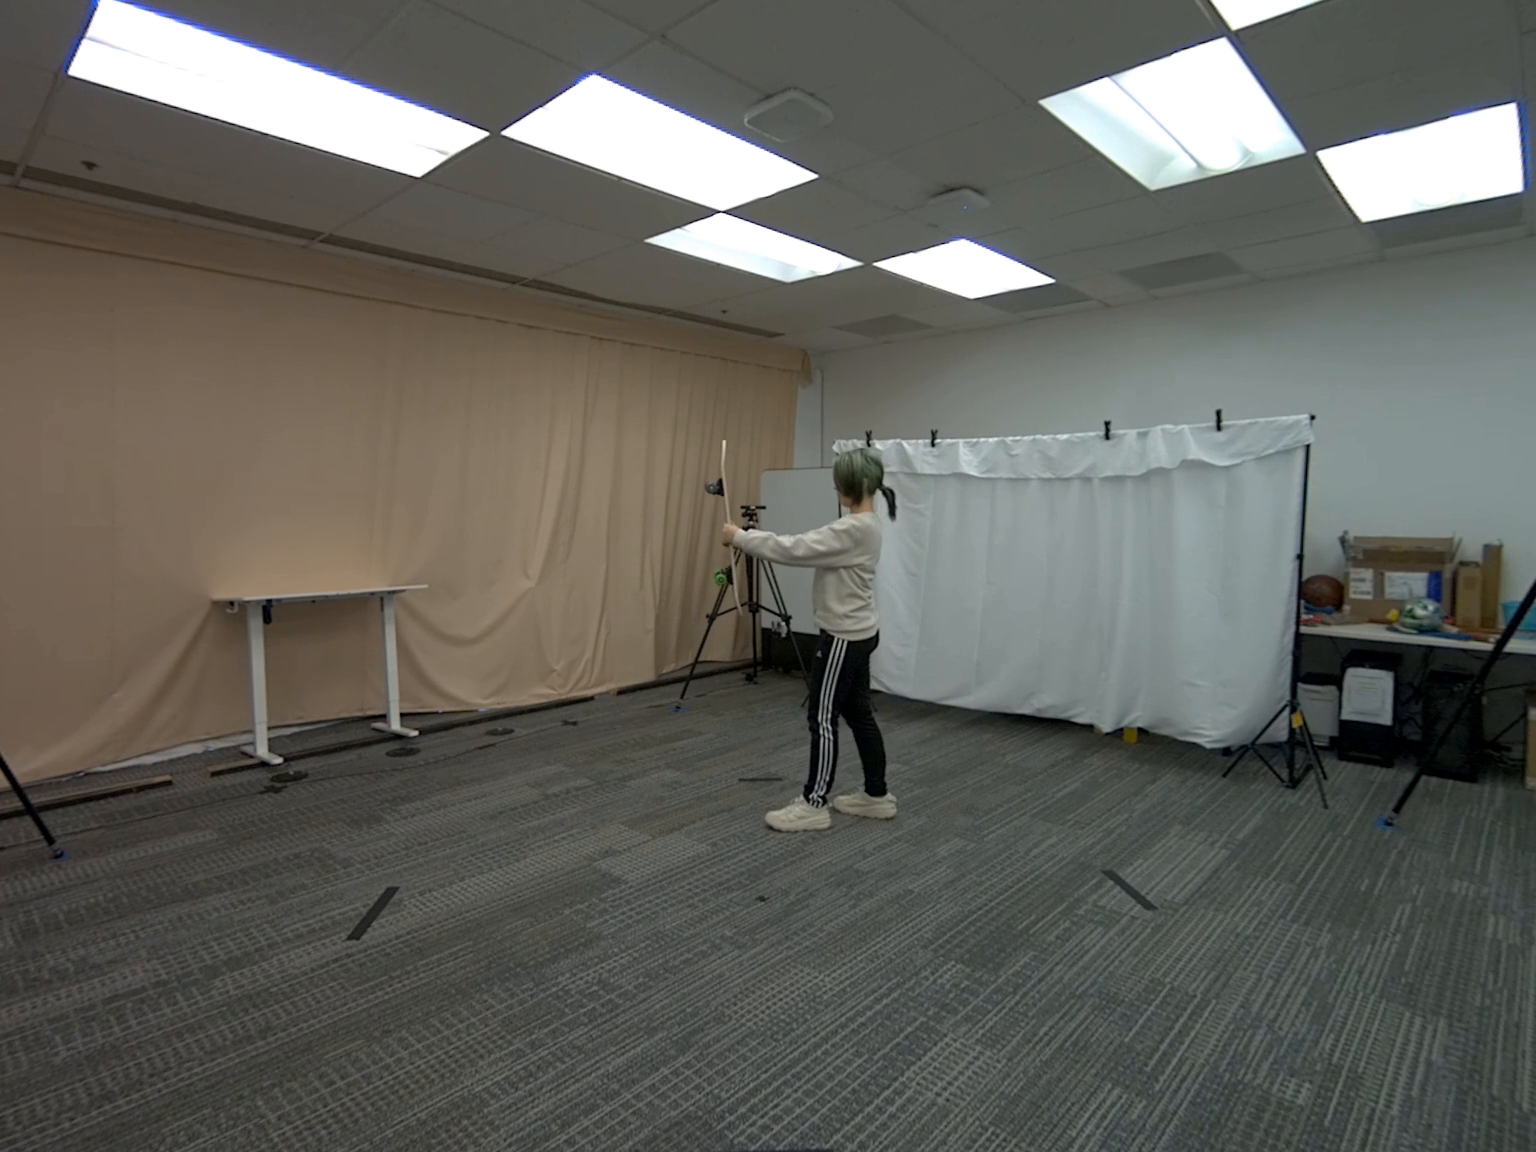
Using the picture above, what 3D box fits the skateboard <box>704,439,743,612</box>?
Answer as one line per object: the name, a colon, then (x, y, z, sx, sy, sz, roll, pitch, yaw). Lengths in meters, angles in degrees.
skateboard: (-0.194, -0.192, 3.696, 0.110, 0.783, 0.194, -7, 4, -4)
